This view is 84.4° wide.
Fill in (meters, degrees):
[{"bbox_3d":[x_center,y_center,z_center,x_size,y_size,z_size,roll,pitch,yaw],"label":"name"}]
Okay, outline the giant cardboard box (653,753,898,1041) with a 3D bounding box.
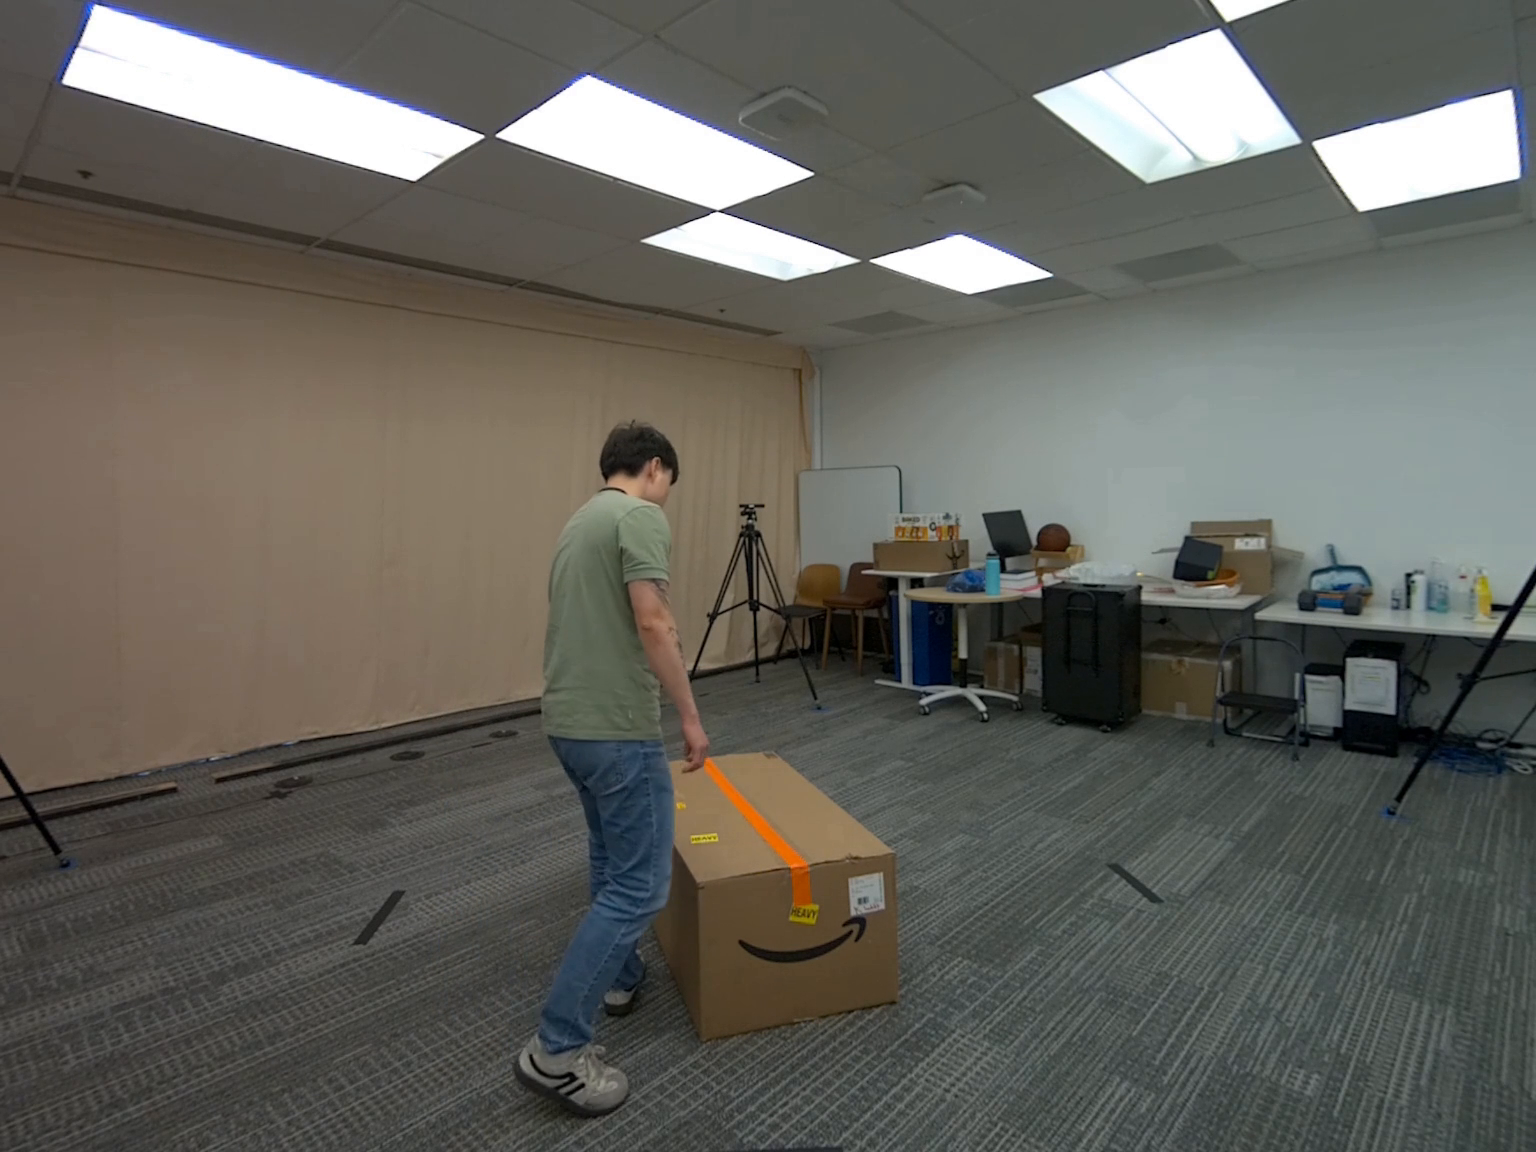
[{"bbox_3d":[-0.073,0.943,2.743,0.567,0.425,1.047,-4,6,-19],"label":"giant cardboard box"}]
